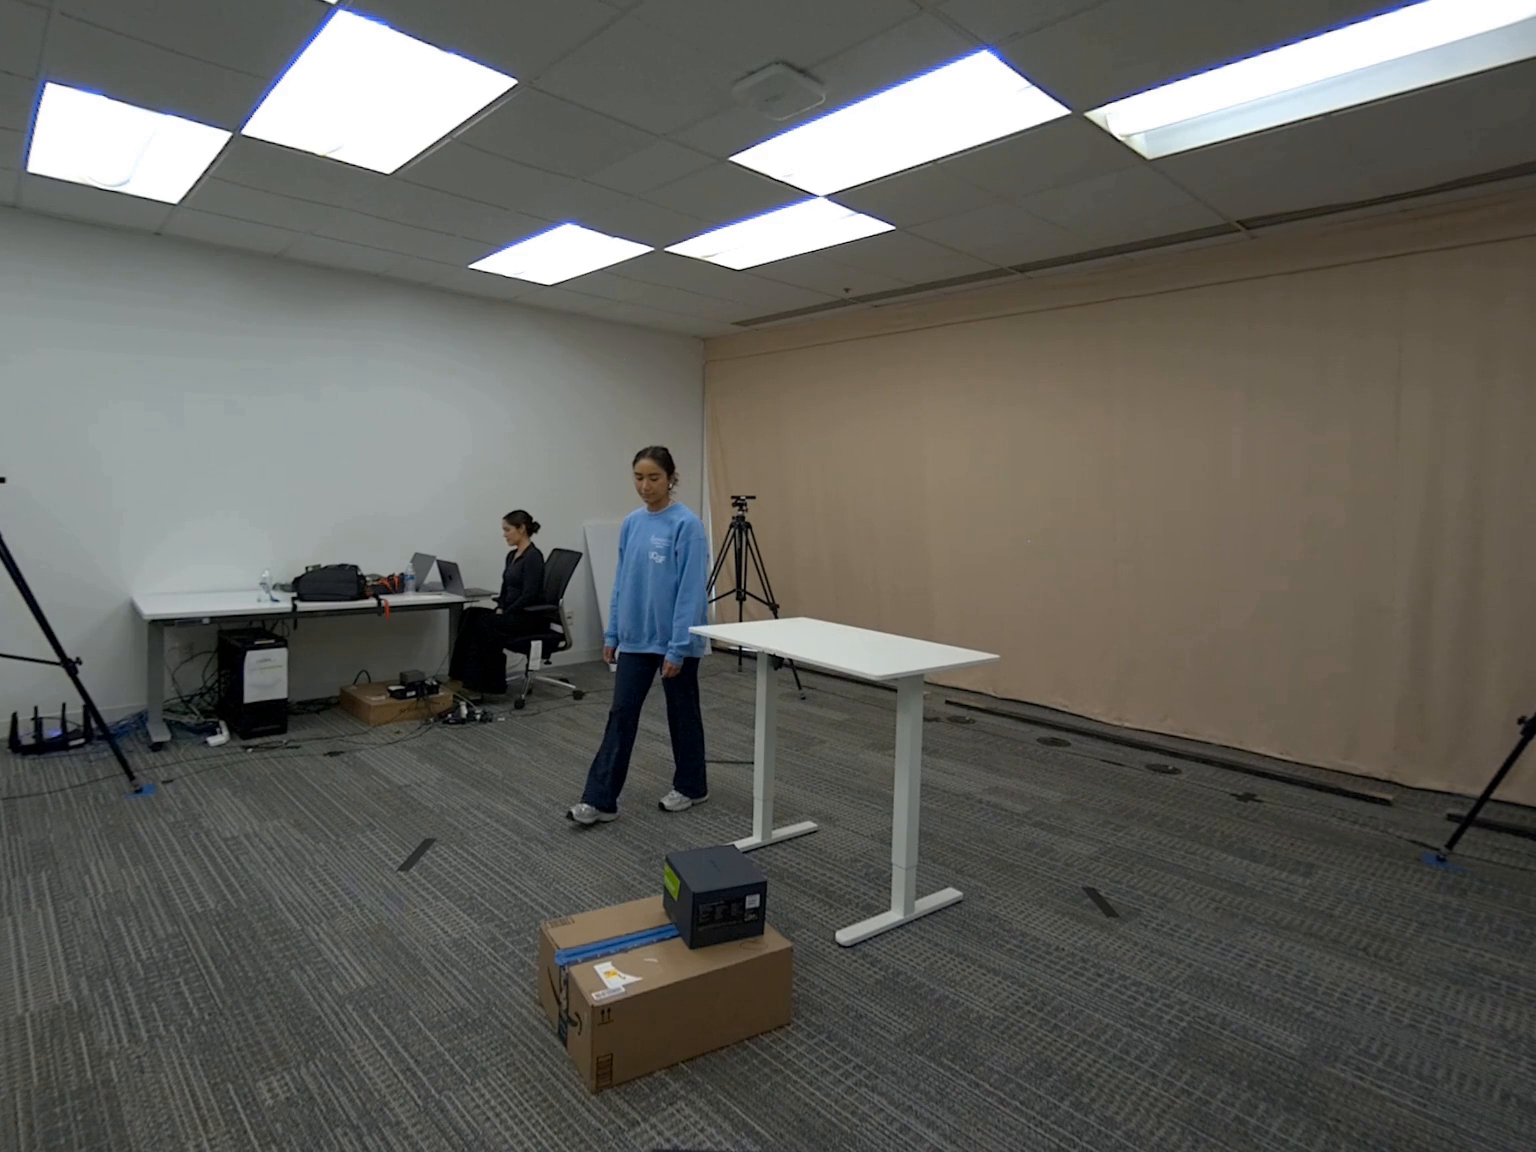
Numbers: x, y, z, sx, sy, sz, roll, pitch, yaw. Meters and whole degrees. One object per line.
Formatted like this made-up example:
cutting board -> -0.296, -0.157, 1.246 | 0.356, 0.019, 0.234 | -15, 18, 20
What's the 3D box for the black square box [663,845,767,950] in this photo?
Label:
black square box -> -0.157, 0.871, 2.314 | 0.213, 0.155, 0.233 | 0, 8, -24
